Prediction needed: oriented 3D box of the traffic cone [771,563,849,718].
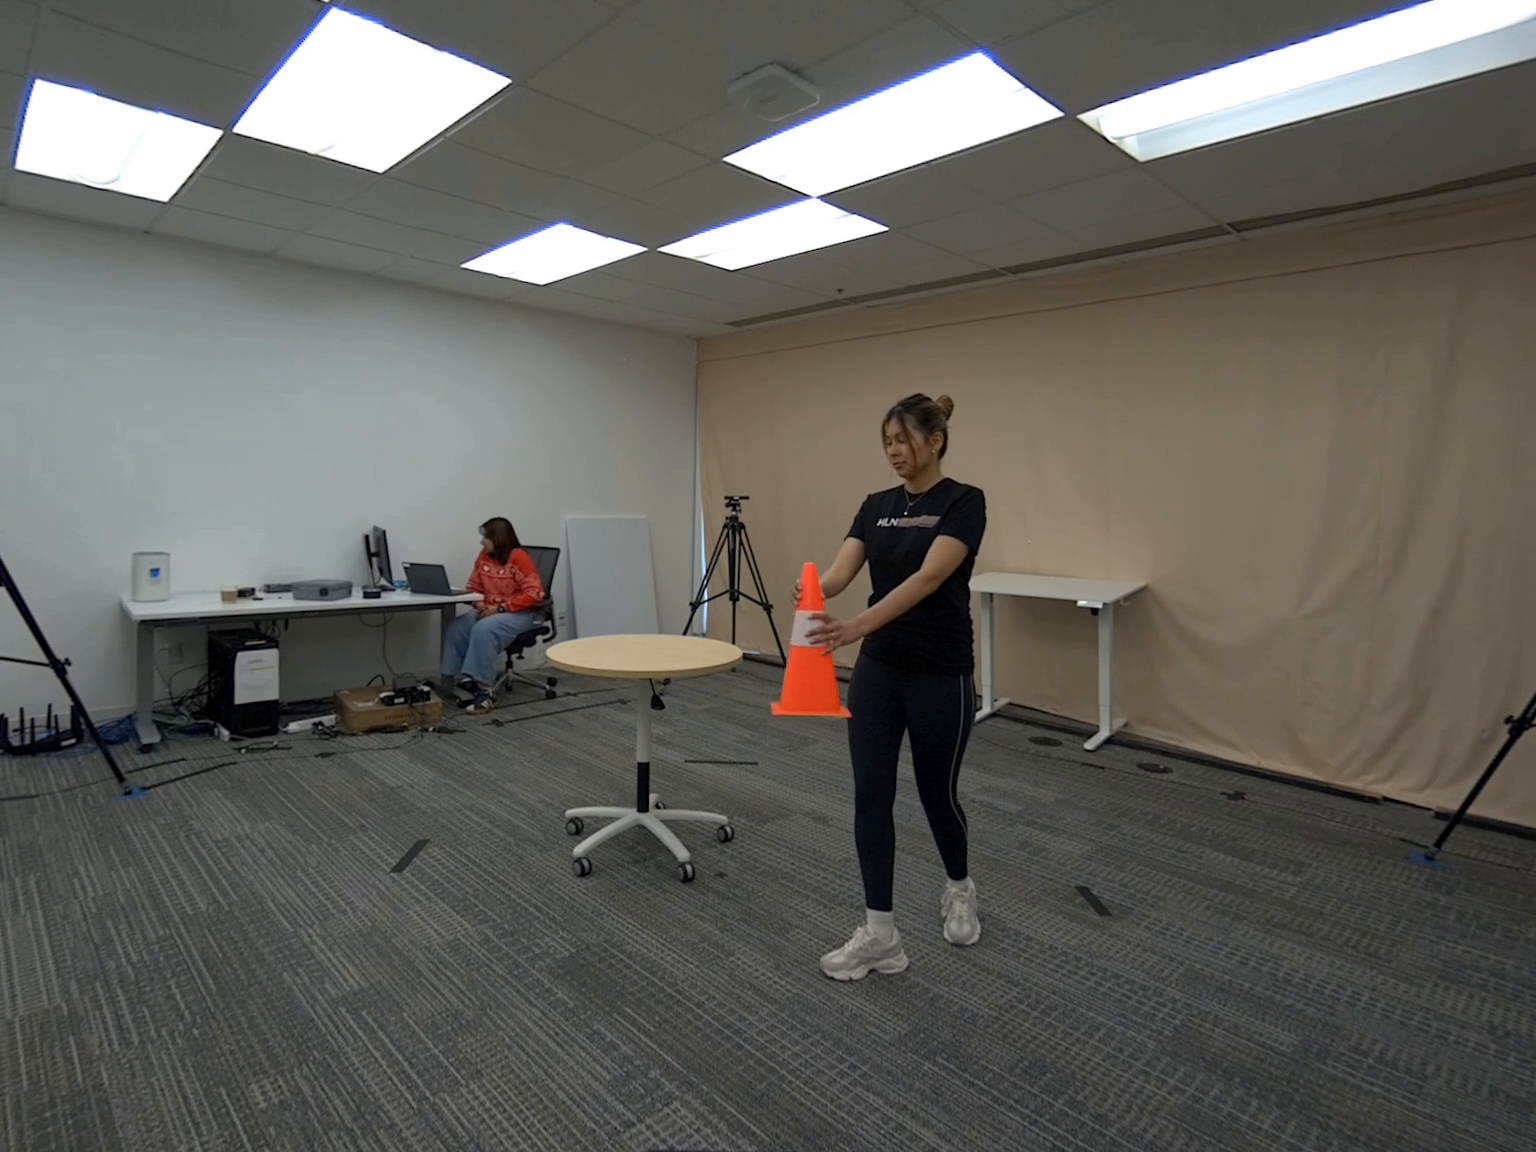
[{"bbox_3d":[0.111,0.160,2.195,0.204,0.384,0.204,0,-1,-5],"label":"traffic cone"}]
